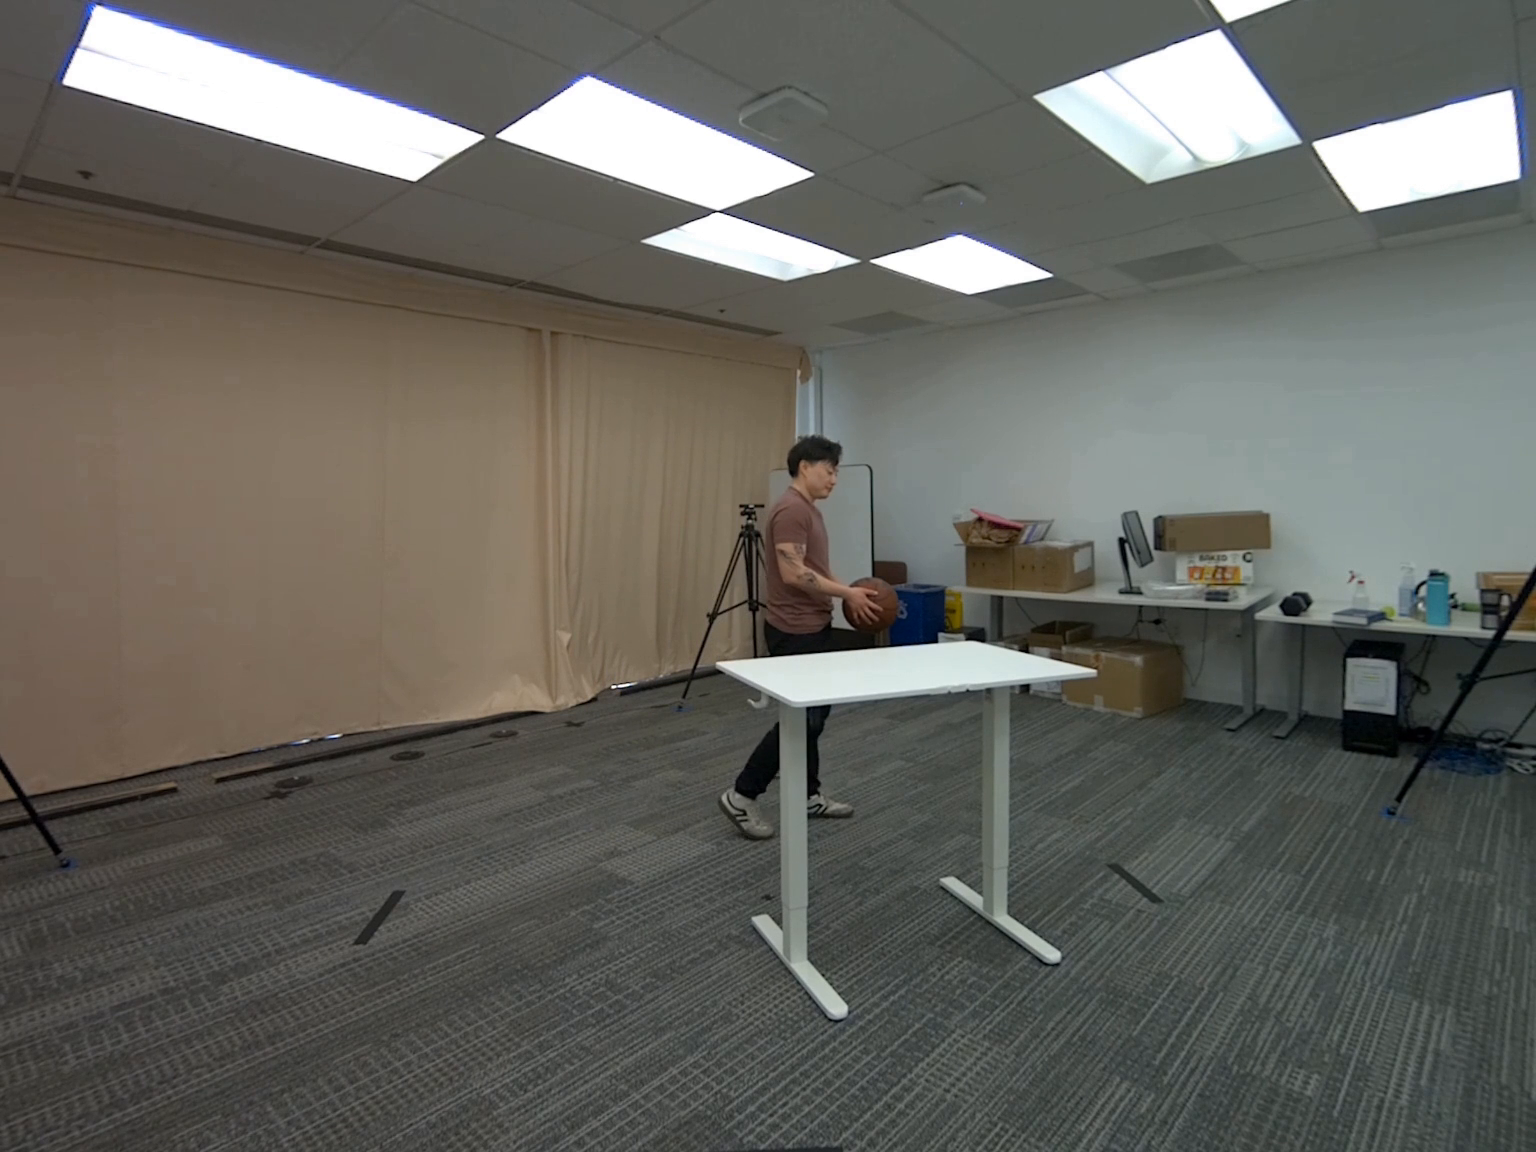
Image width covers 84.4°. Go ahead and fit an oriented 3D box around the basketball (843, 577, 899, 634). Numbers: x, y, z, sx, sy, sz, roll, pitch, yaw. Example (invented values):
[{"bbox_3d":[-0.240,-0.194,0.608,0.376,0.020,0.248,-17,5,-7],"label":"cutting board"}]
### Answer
[{"bbox_3d":[0.420,0.126,3.524,0.236,0.235,0.237,-1,4,-2],"label":"basketball"}]
